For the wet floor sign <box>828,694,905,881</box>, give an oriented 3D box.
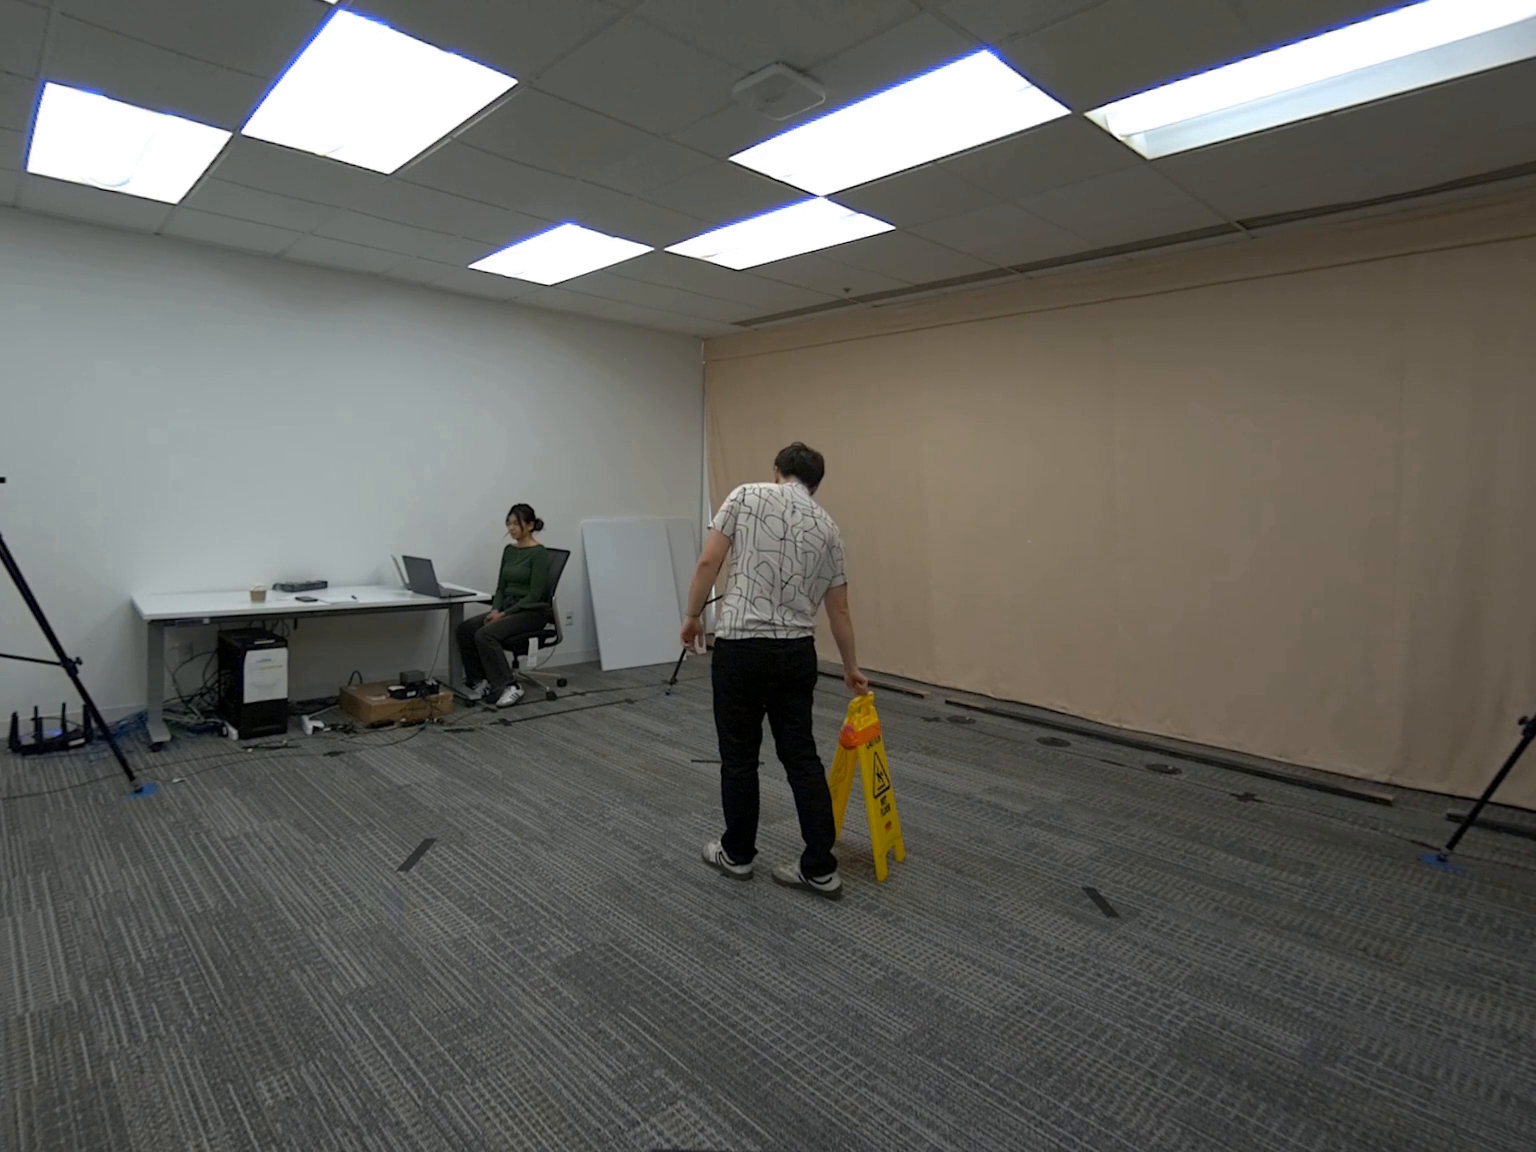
[{"bbox_3d":[0.342,0.777,3.245,0.296,0.645,0.277,2,2,29],"label":"wet floor sign"}]
